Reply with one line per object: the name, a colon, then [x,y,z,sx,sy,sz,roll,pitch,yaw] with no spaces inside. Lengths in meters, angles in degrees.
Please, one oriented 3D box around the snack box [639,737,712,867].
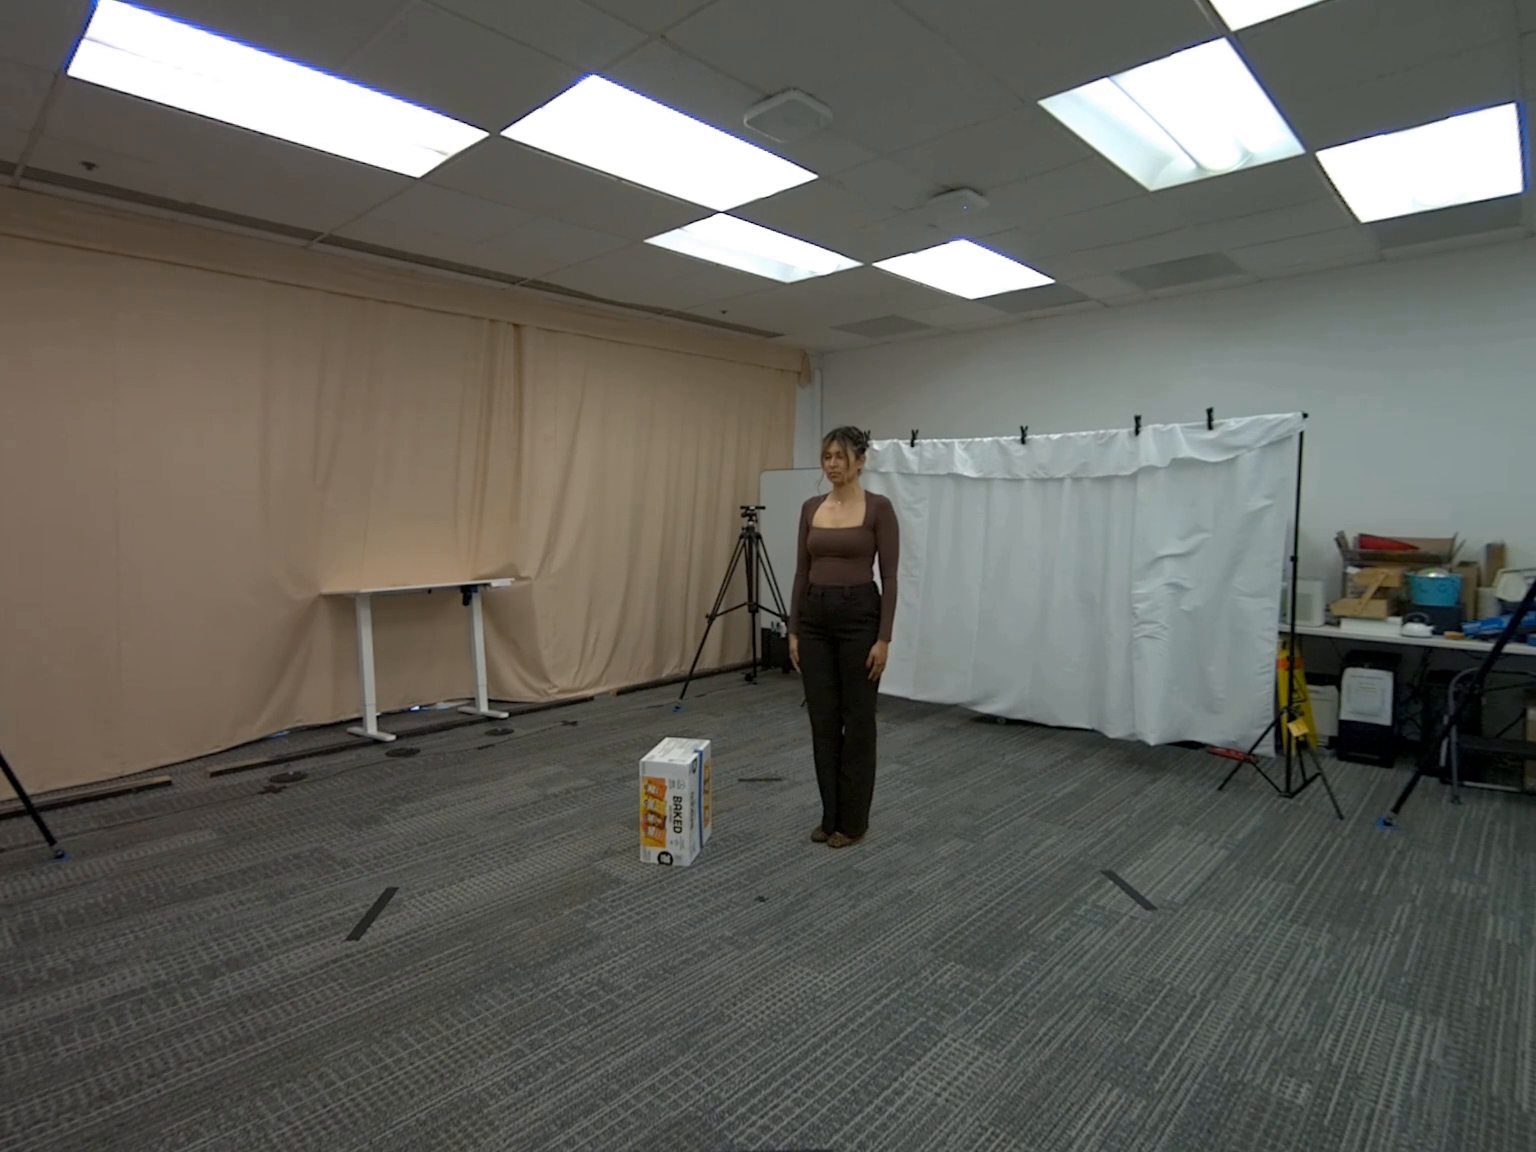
snack box: [-0.371,0.909,3.429,0.209,0.404,0.336,0,3,12]
